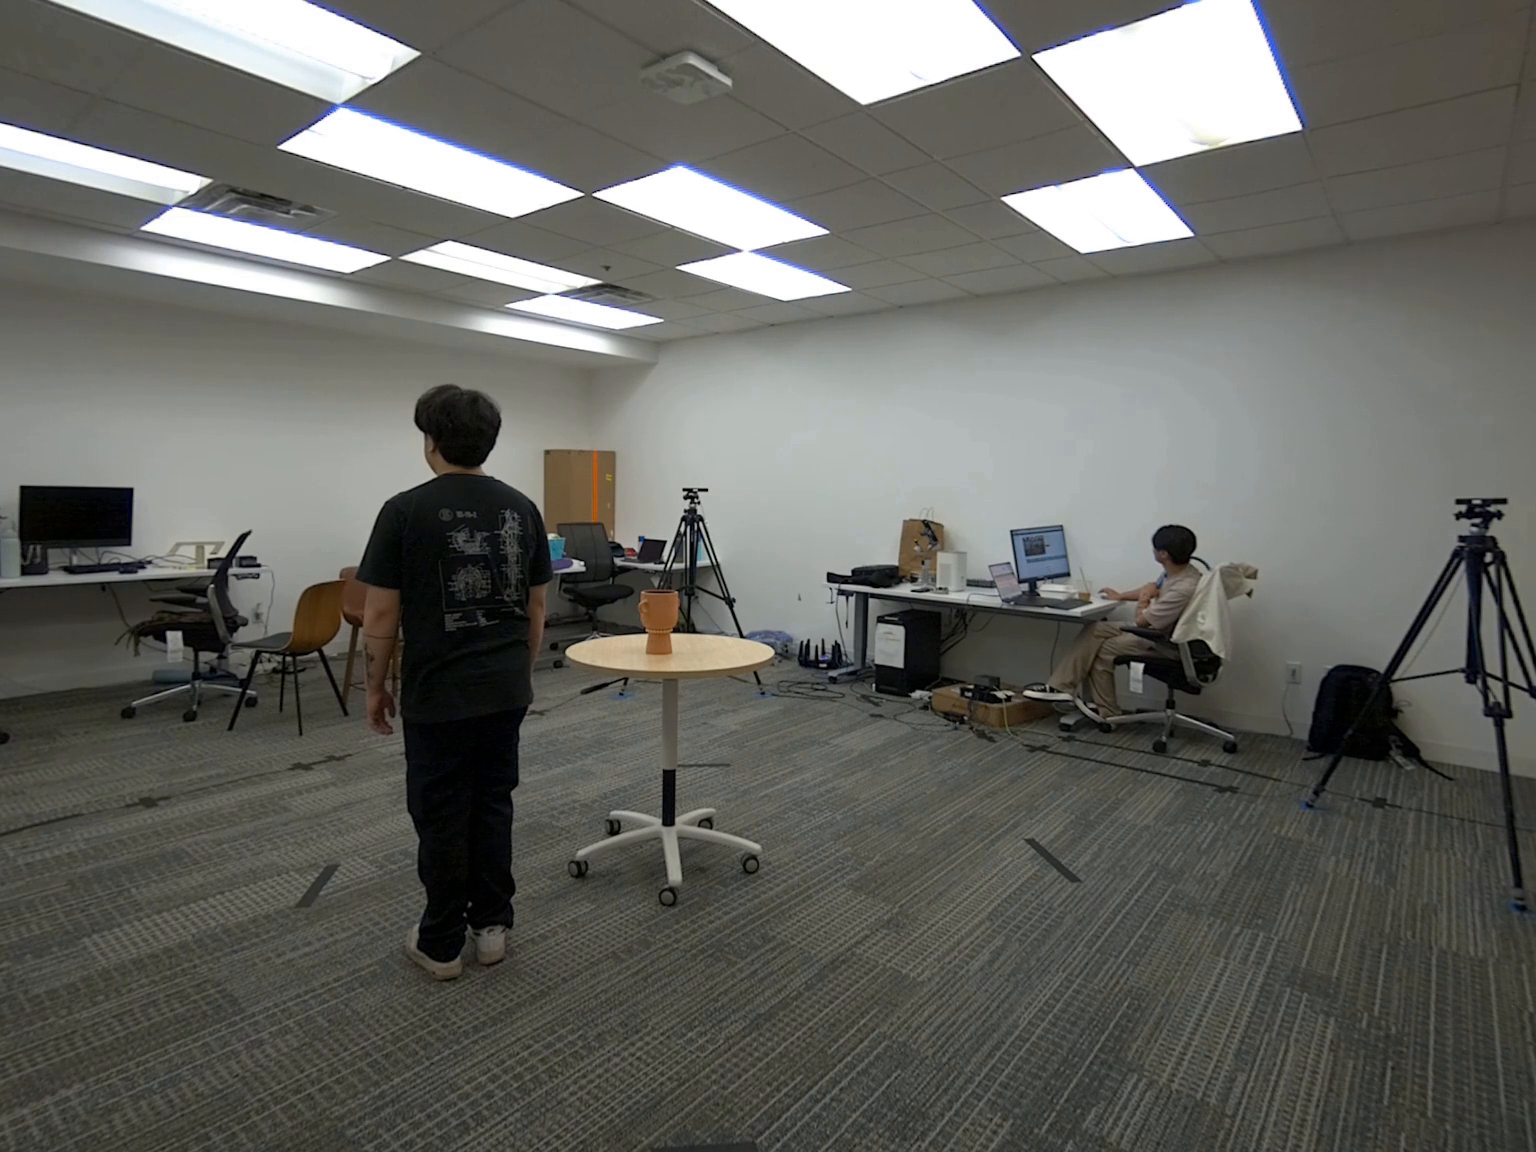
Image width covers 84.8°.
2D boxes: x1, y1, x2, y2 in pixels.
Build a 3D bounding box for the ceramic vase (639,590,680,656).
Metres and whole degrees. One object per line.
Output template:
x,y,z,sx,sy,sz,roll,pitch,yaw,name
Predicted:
-0.409,0.167,3.079,0.157,0.219,0.136,-1,4,-9,ceramic vase
